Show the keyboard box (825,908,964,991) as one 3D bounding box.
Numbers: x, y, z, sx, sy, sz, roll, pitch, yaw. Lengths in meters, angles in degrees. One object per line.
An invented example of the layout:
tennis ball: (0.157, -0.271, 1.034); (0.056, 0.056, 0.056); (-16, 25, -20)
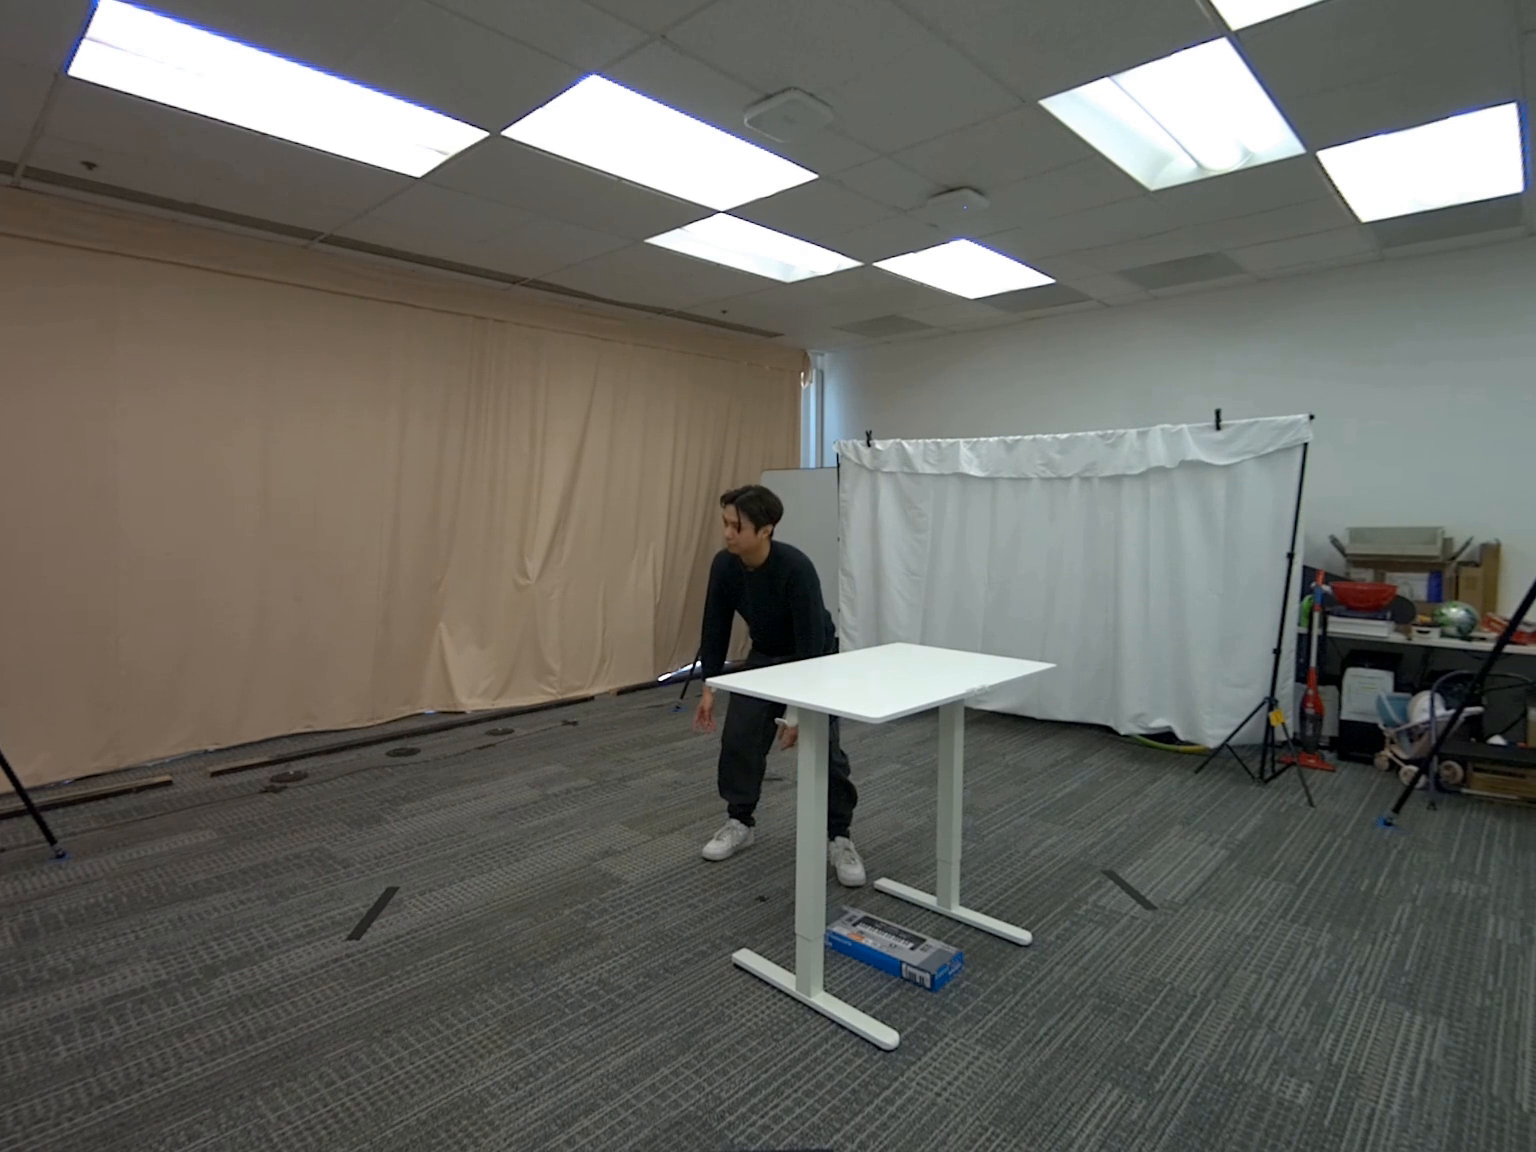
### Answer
keyboard box: (0.364, 1.145, 2.610); (0.451, 0.059, 0.170); (4, 6, 42)
